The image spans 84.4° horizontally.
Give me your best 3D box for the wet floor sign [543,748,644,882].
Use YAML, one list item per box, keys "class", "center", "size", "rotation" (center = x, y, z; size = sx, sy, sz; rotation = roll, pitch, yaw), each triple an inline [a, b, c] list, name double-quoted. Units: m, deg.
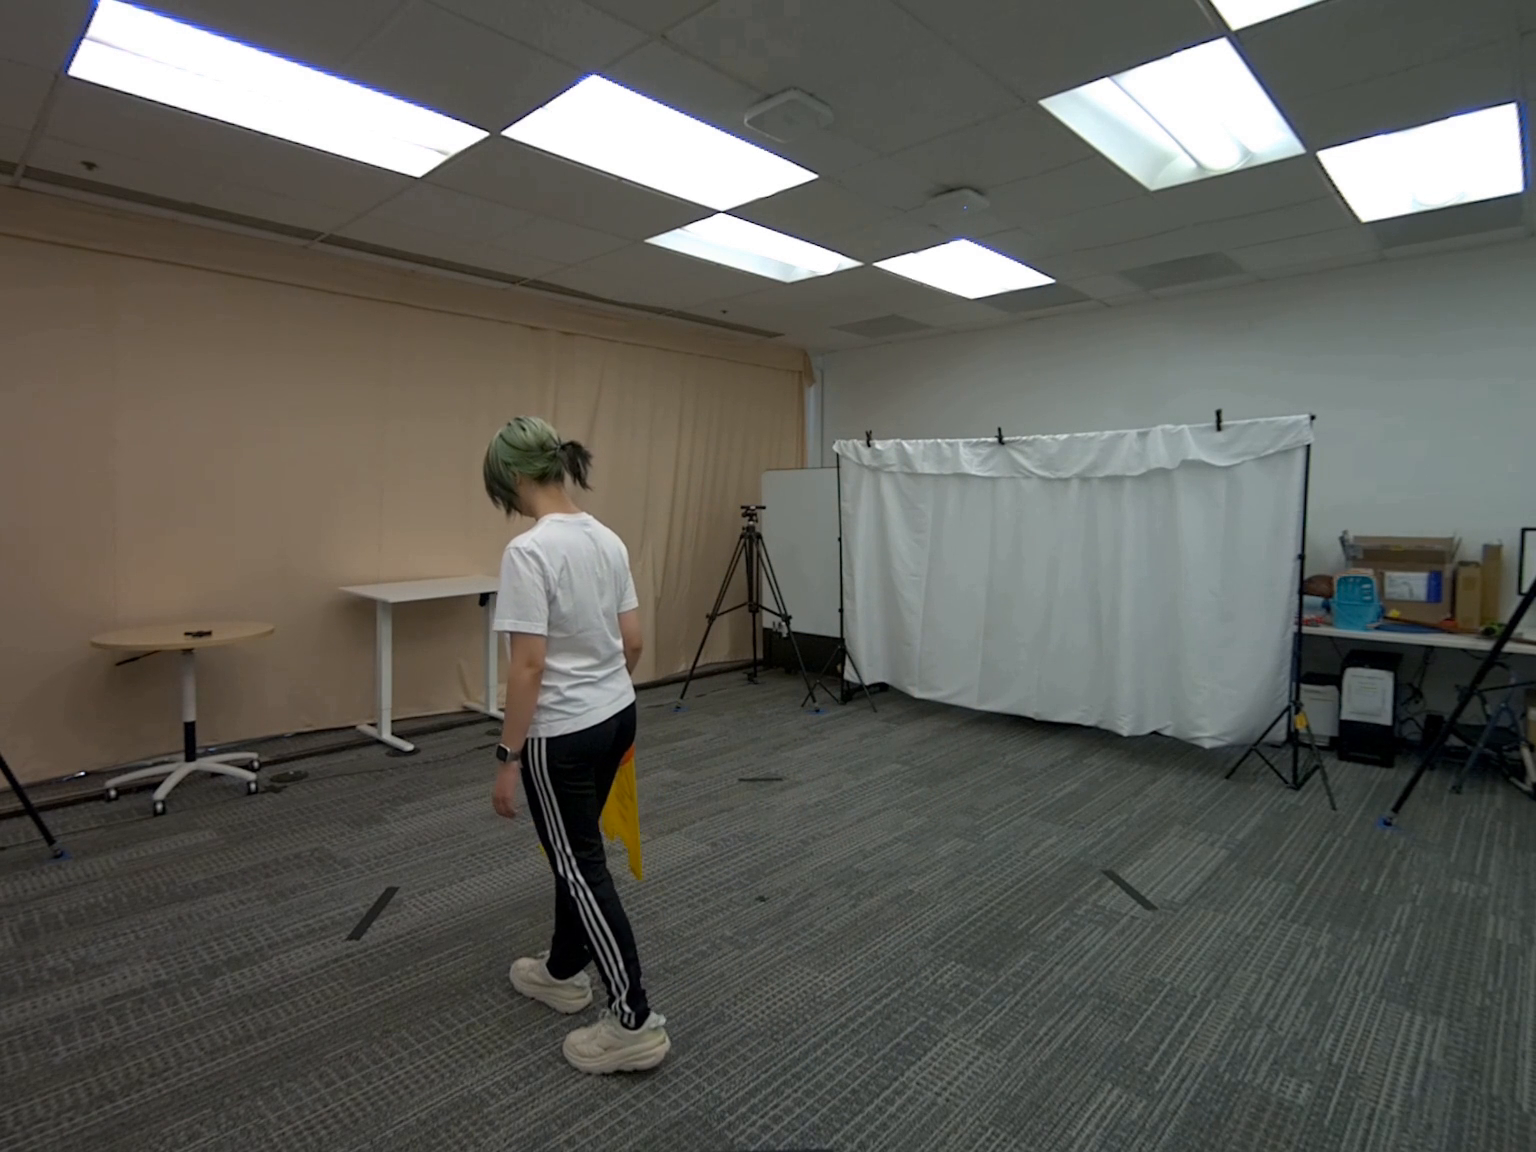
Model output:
- class: "wet floor sign"
  center: [-0.532, 0.647, 2.642]
  size: [0.281, 0.641, 0.293]
  rotation: [-3, 23, -35]
